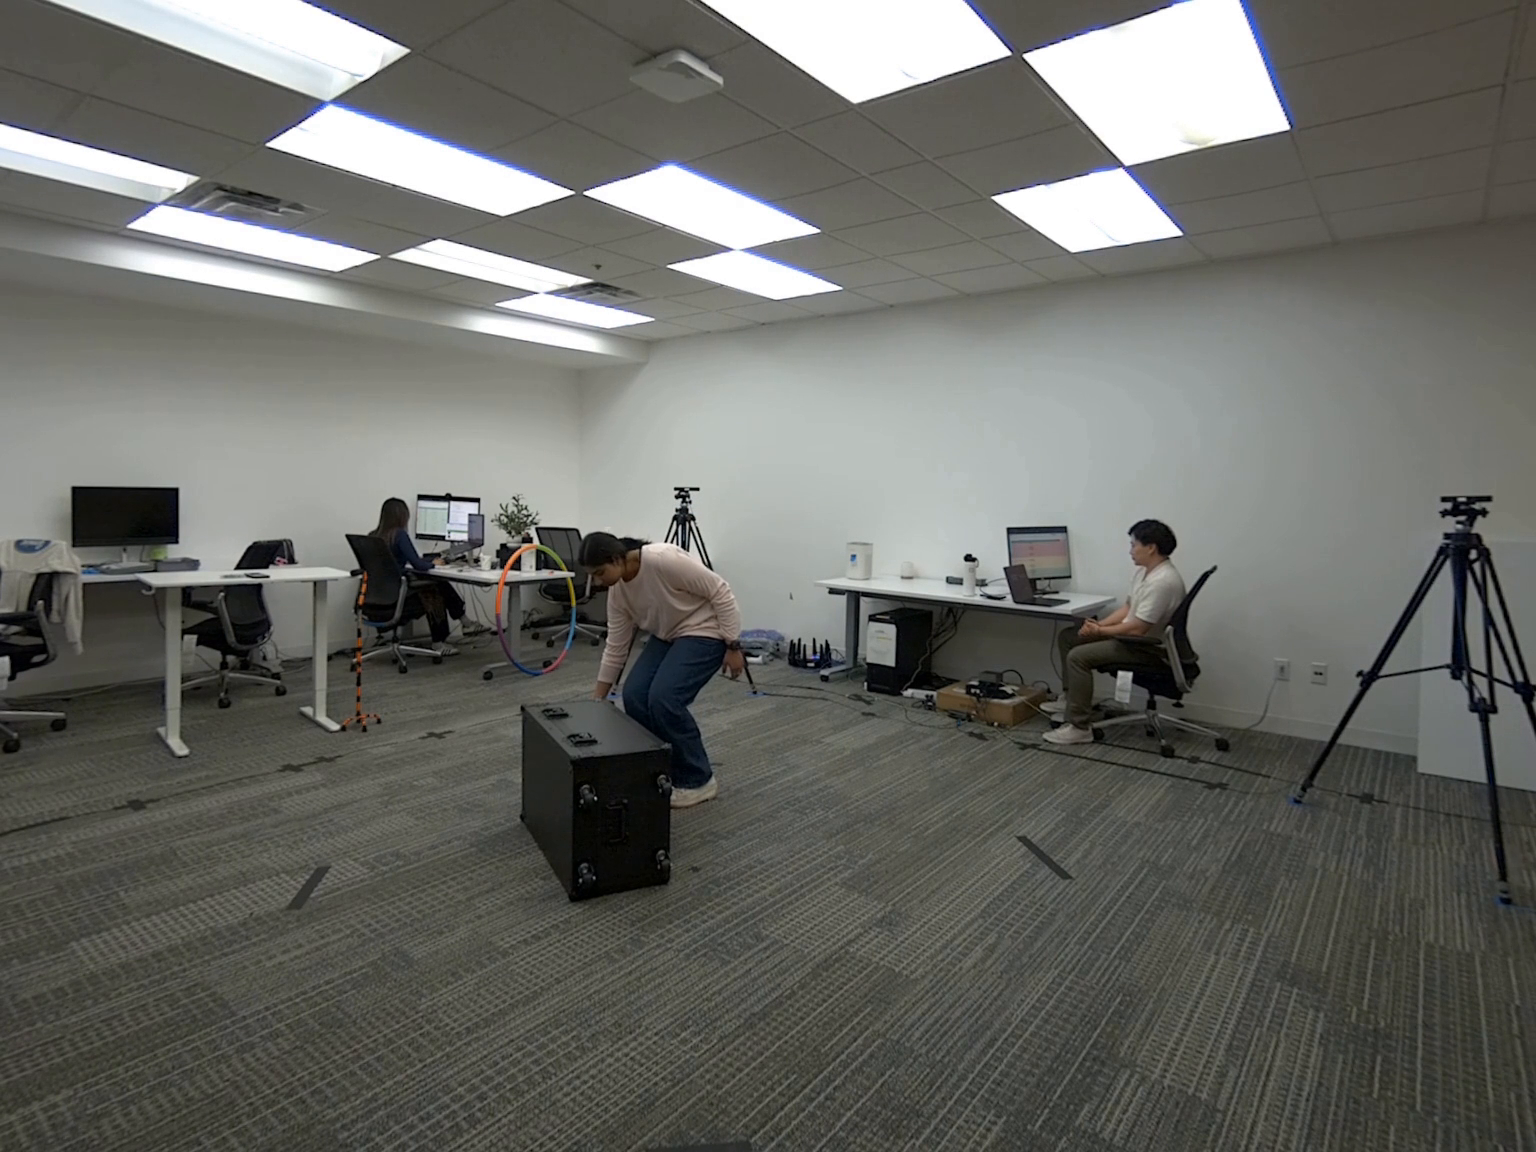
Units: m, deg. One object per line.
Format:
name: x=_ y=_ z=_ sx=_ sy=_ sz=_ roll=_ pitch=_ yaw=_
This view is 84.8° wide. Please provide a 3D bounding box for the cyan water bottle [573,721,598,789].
cyan water bottle: x=-0.843 y=0.821 z=3.875 sx=0.092 sy=0.282 sz=0.093 roll=0 pitch=3 yaw=-2
